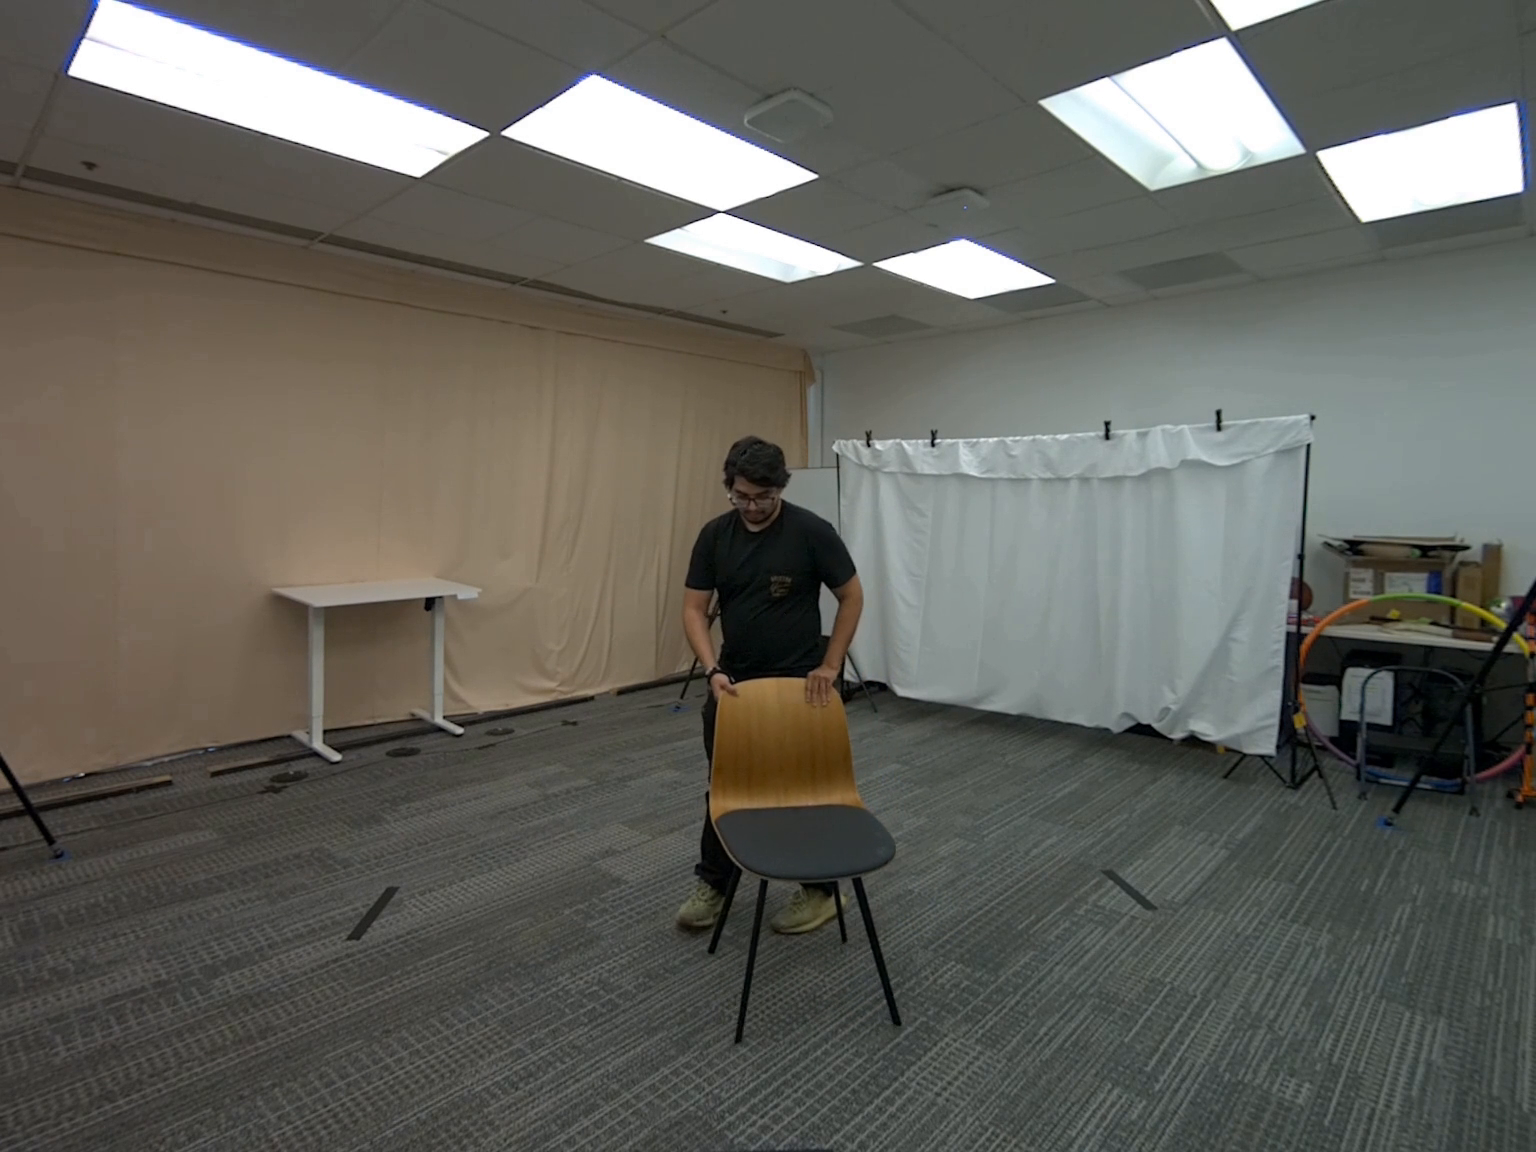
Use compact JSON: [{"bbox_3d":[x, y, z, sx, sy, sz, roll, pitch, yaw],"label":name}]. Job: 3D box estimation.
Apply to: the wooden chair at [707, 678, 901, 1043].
[{"bbox_3d":[0.098,0.759,2.398,0.472,0.878,0.529,0,-1,-12],"label":"wooden chair"}]
